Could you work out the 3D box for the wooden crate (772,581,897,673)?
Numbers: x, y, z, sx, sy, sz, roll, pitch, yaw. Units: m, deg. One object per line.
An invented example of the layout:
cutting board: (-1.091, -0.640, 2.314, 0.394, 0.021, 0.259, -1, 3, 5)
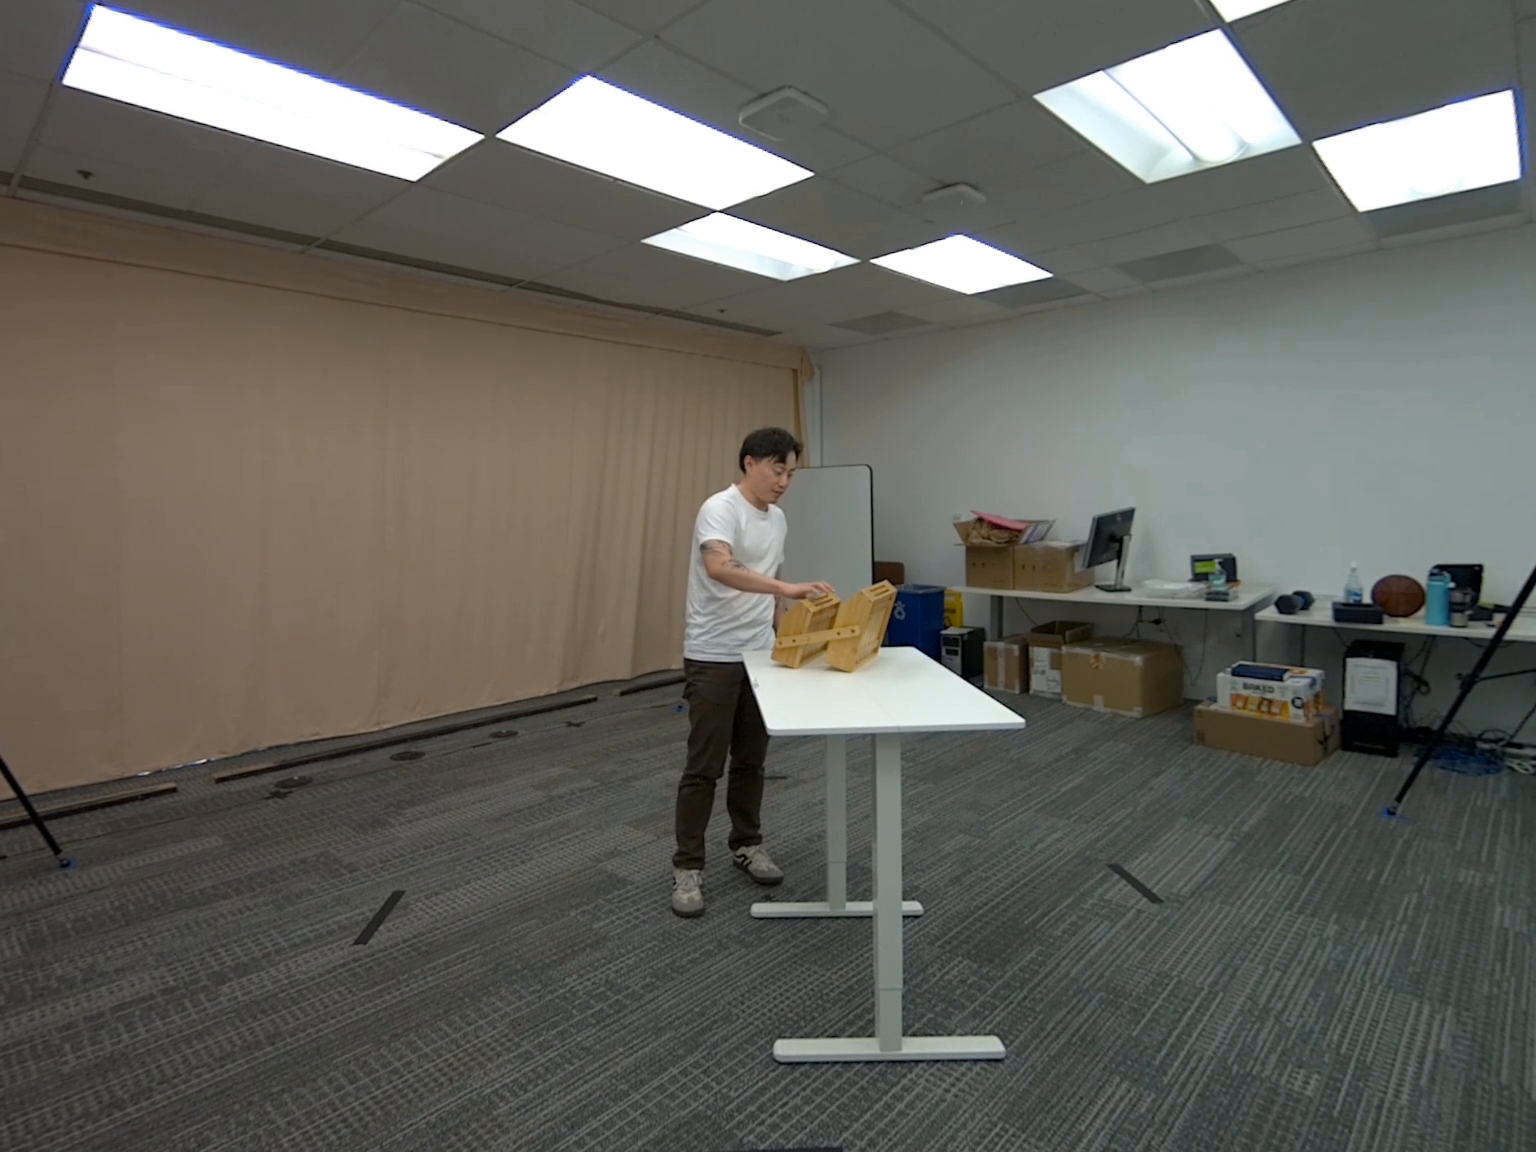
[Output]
wooden crate: (0.218, 0.144, 2.688, 0.280, 0.301, 0.317, 19, 11, 20)
